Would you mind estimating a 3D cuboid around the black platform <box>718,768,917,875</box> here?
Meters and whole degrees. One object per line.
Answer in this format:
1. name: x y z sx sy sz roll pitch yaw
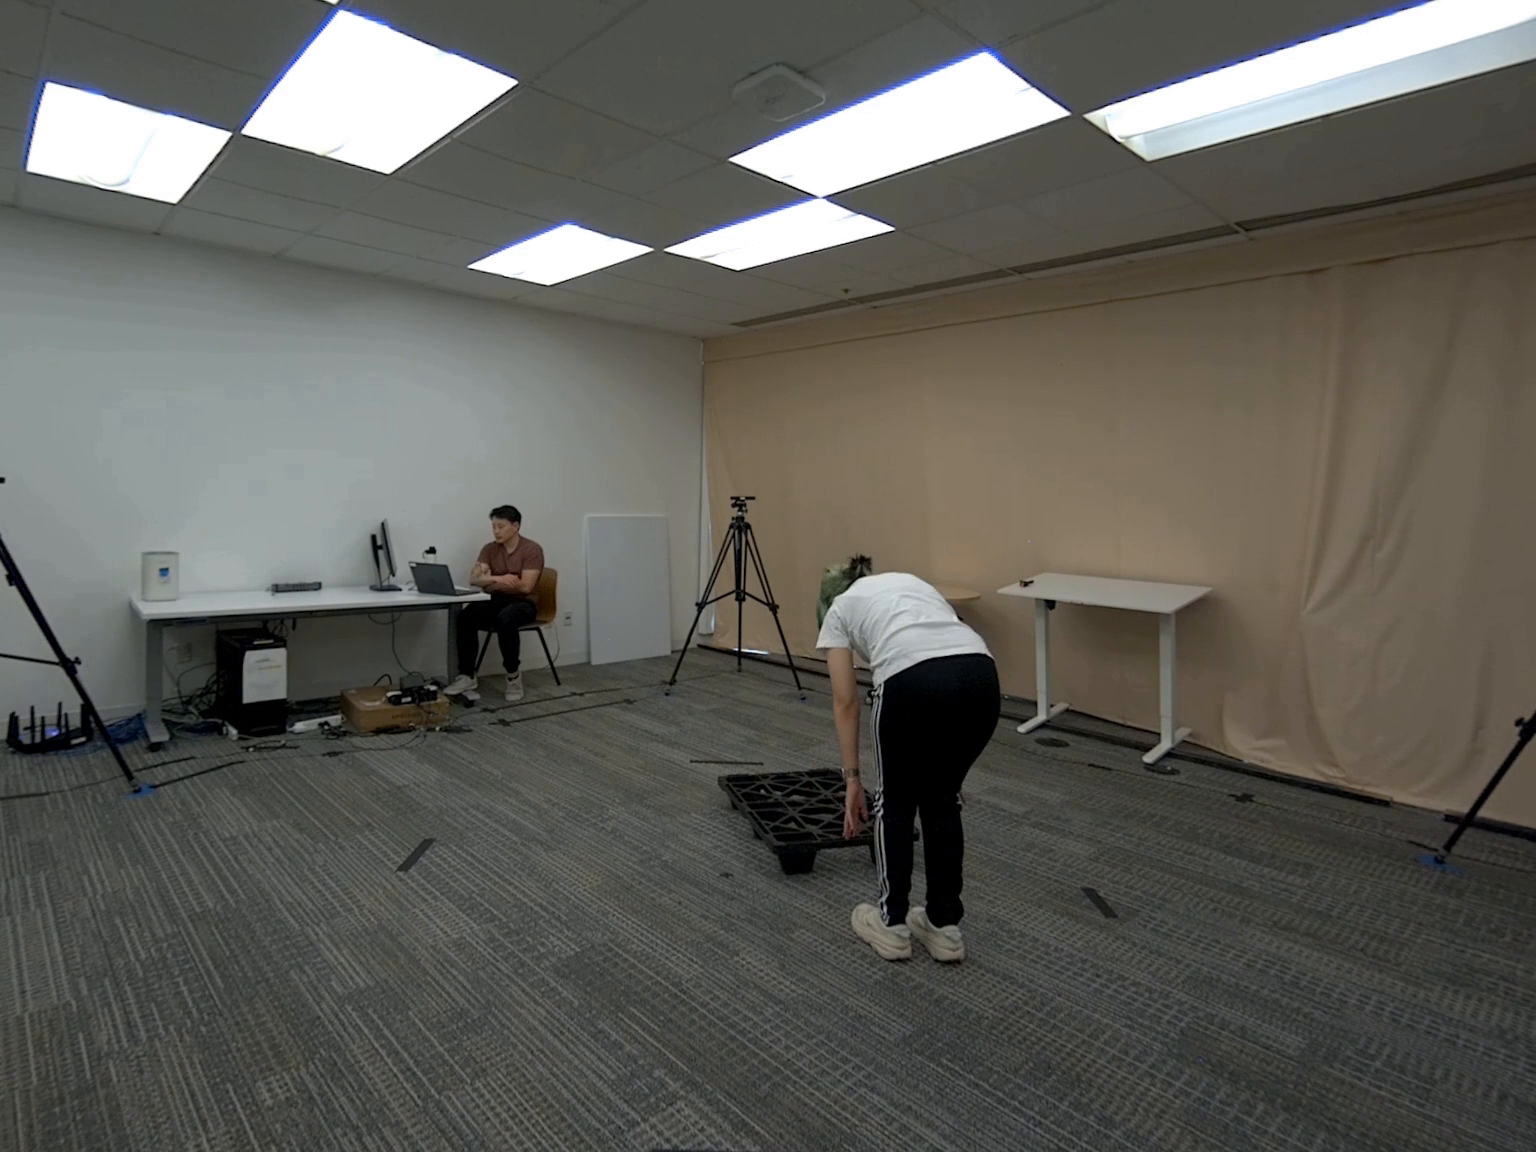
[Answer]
1. black platform: 0.168 1.008 3.523 0.597 0.143 0.818 1 5 -17
